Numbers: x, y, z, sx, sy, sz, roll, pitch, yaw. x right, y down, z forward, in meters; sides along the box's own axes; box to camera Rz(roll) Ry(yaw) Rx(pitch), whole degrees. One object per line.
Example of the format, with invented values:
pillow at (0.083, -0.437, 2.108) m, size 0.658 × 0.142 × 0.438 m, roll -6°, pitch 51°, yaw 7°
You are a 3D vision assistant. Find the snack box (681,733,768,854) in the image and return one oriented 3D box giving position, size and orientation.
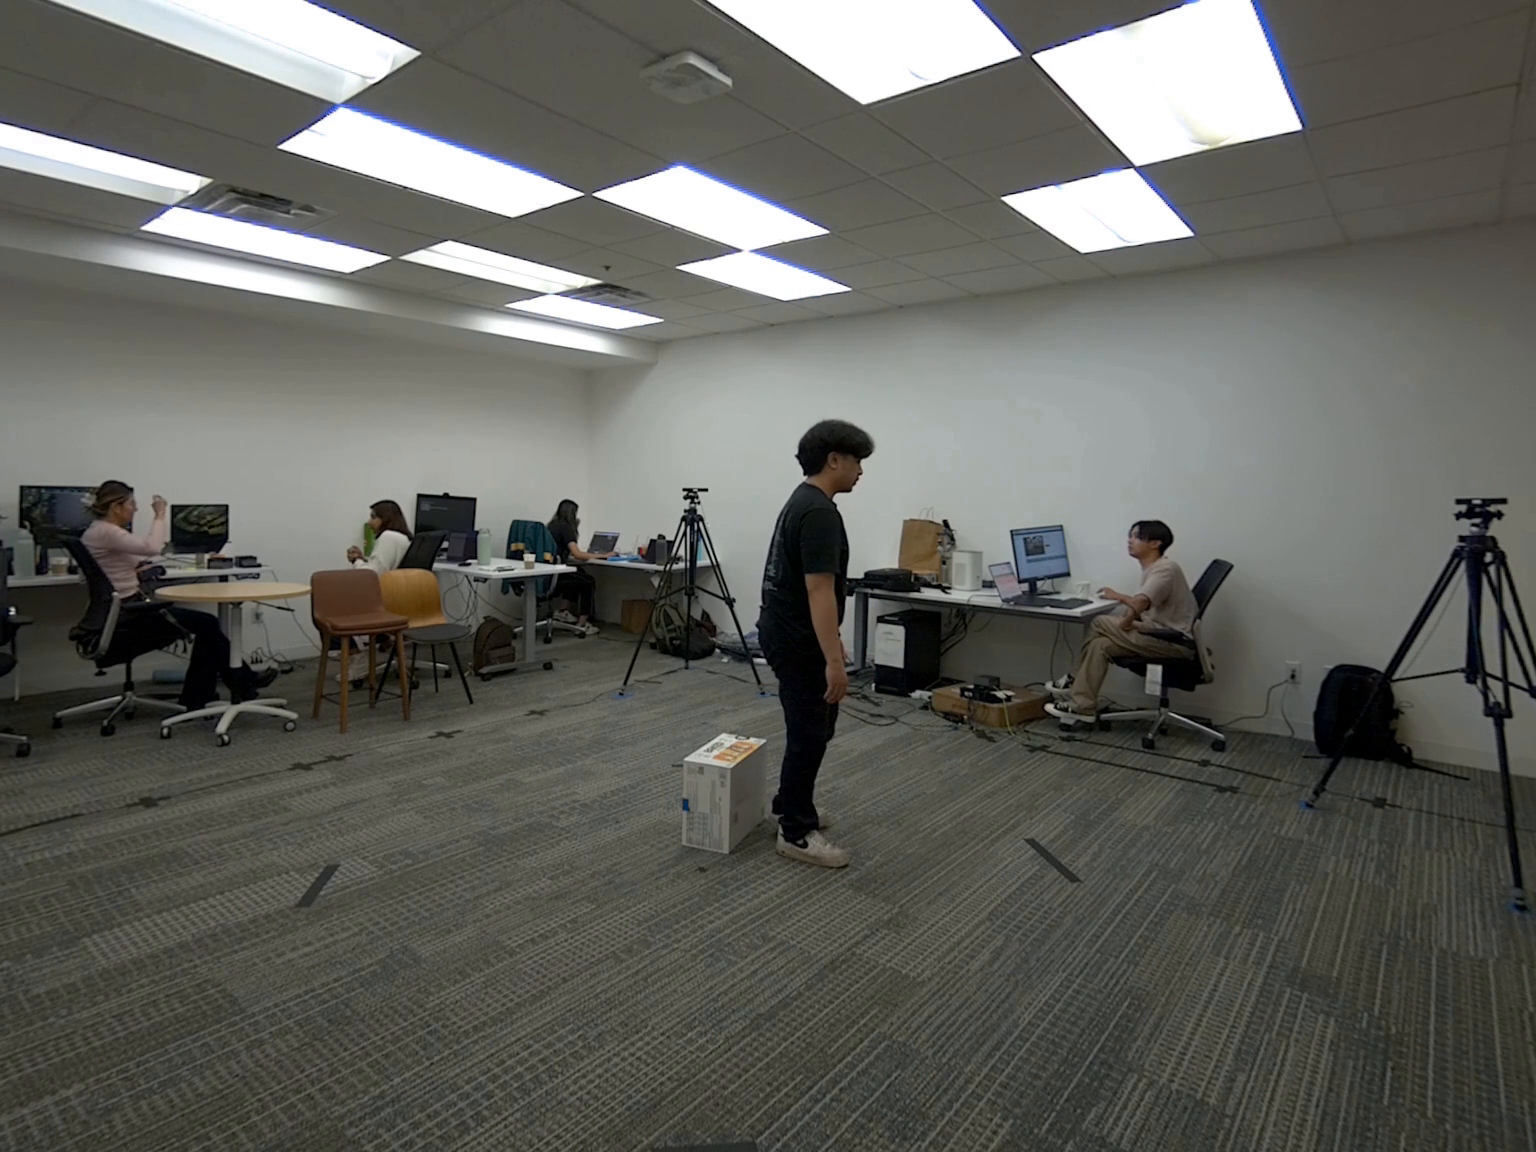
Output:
snack box at (-0.179, 0.866, 3.450) m, size 0.210 × 0.339 × 0.397 m, roll 2°, pitch 5°, yaw 21°
